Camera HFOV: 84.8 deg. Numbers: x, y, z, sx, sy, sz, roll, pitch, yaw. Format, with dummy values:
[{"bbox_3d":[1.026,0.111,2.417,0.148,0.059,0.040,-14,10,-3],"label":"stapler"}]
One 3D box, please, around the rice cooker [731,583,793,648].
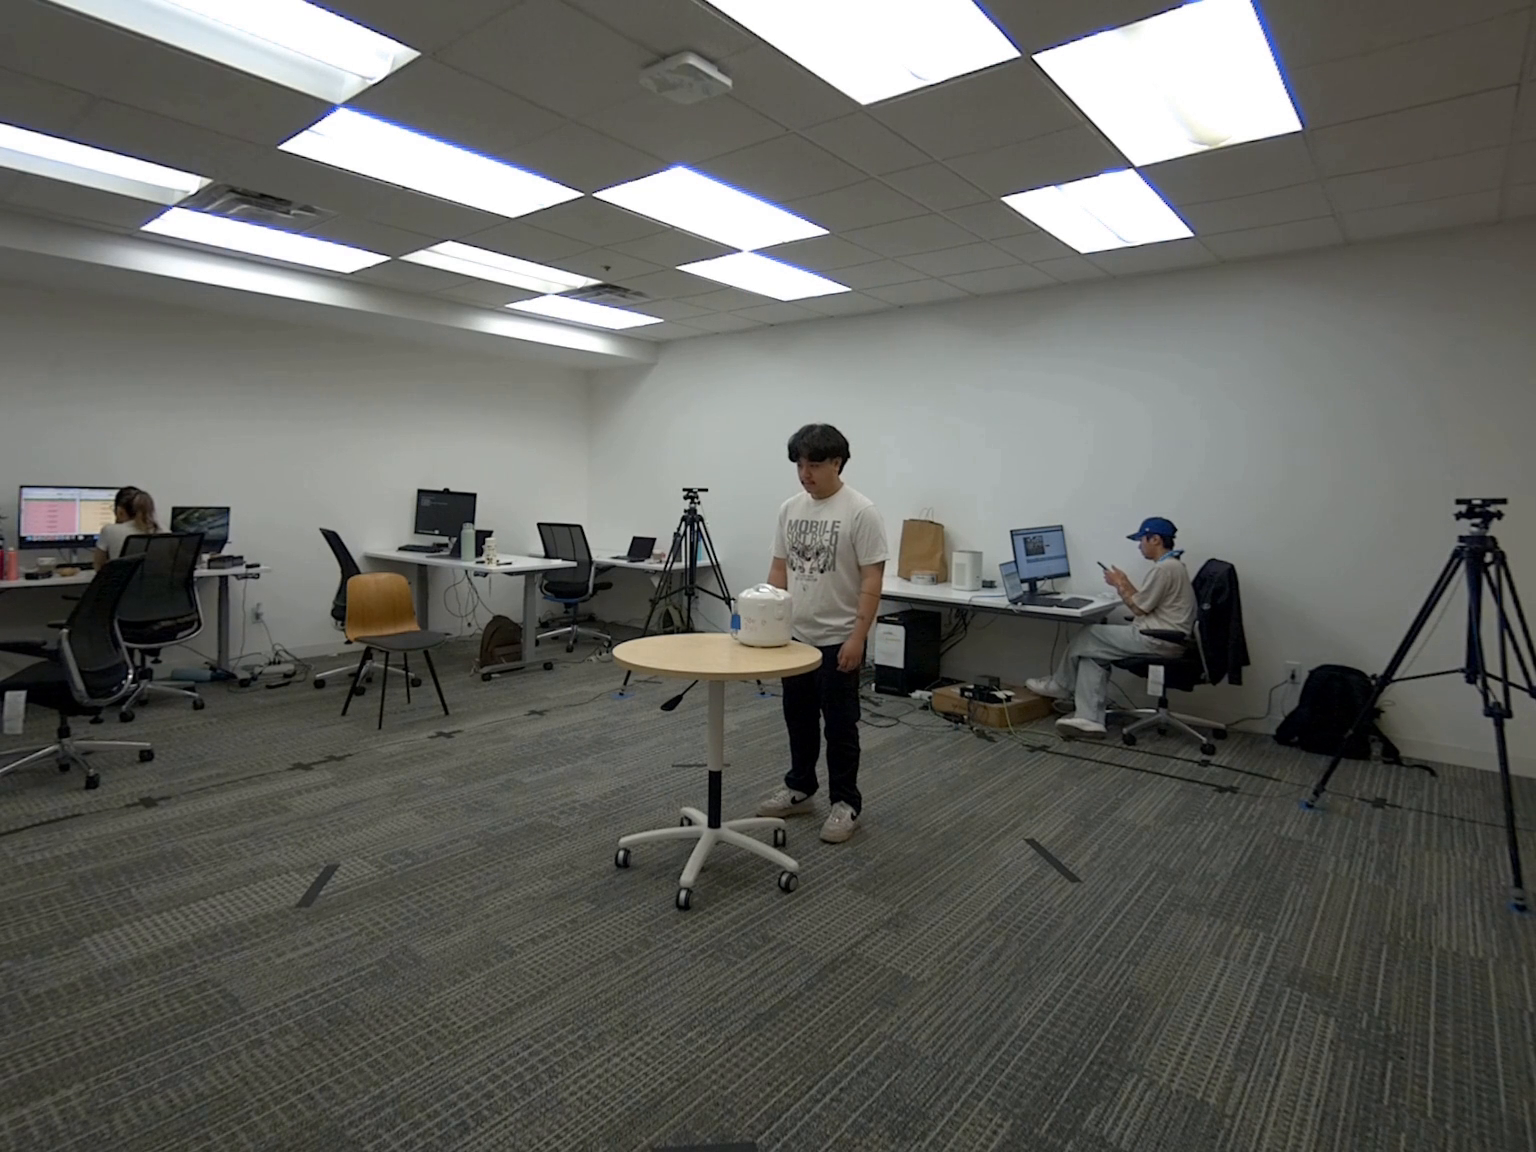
[{"bbox_3d":[-0.018,0.144,3.275,0.212,0.232,0.227,-2,5,-30],"label":"rice cooker"}]
